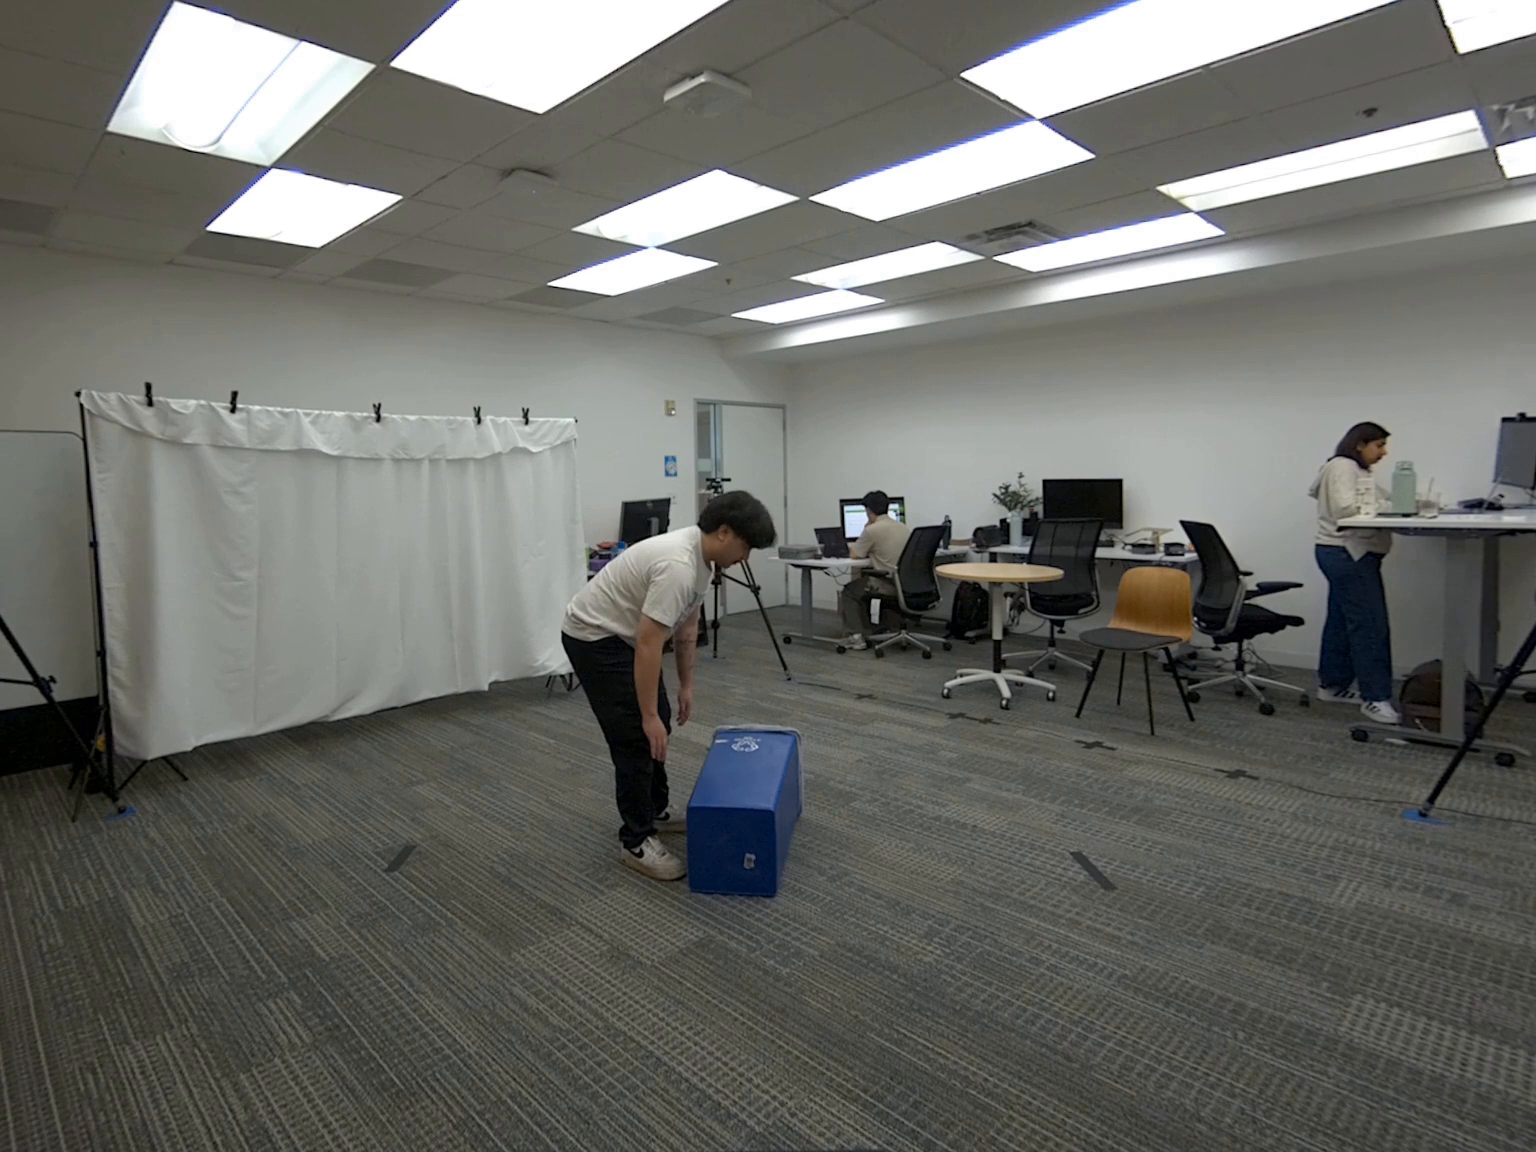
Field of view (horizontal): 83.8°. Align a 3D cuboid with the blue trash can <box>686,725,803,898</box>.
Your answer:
[{"bbox_3d":[-0.076,0.865,3.201,0.377,0.375,0.714,0,9,6],"label":"blue trash can"}]
